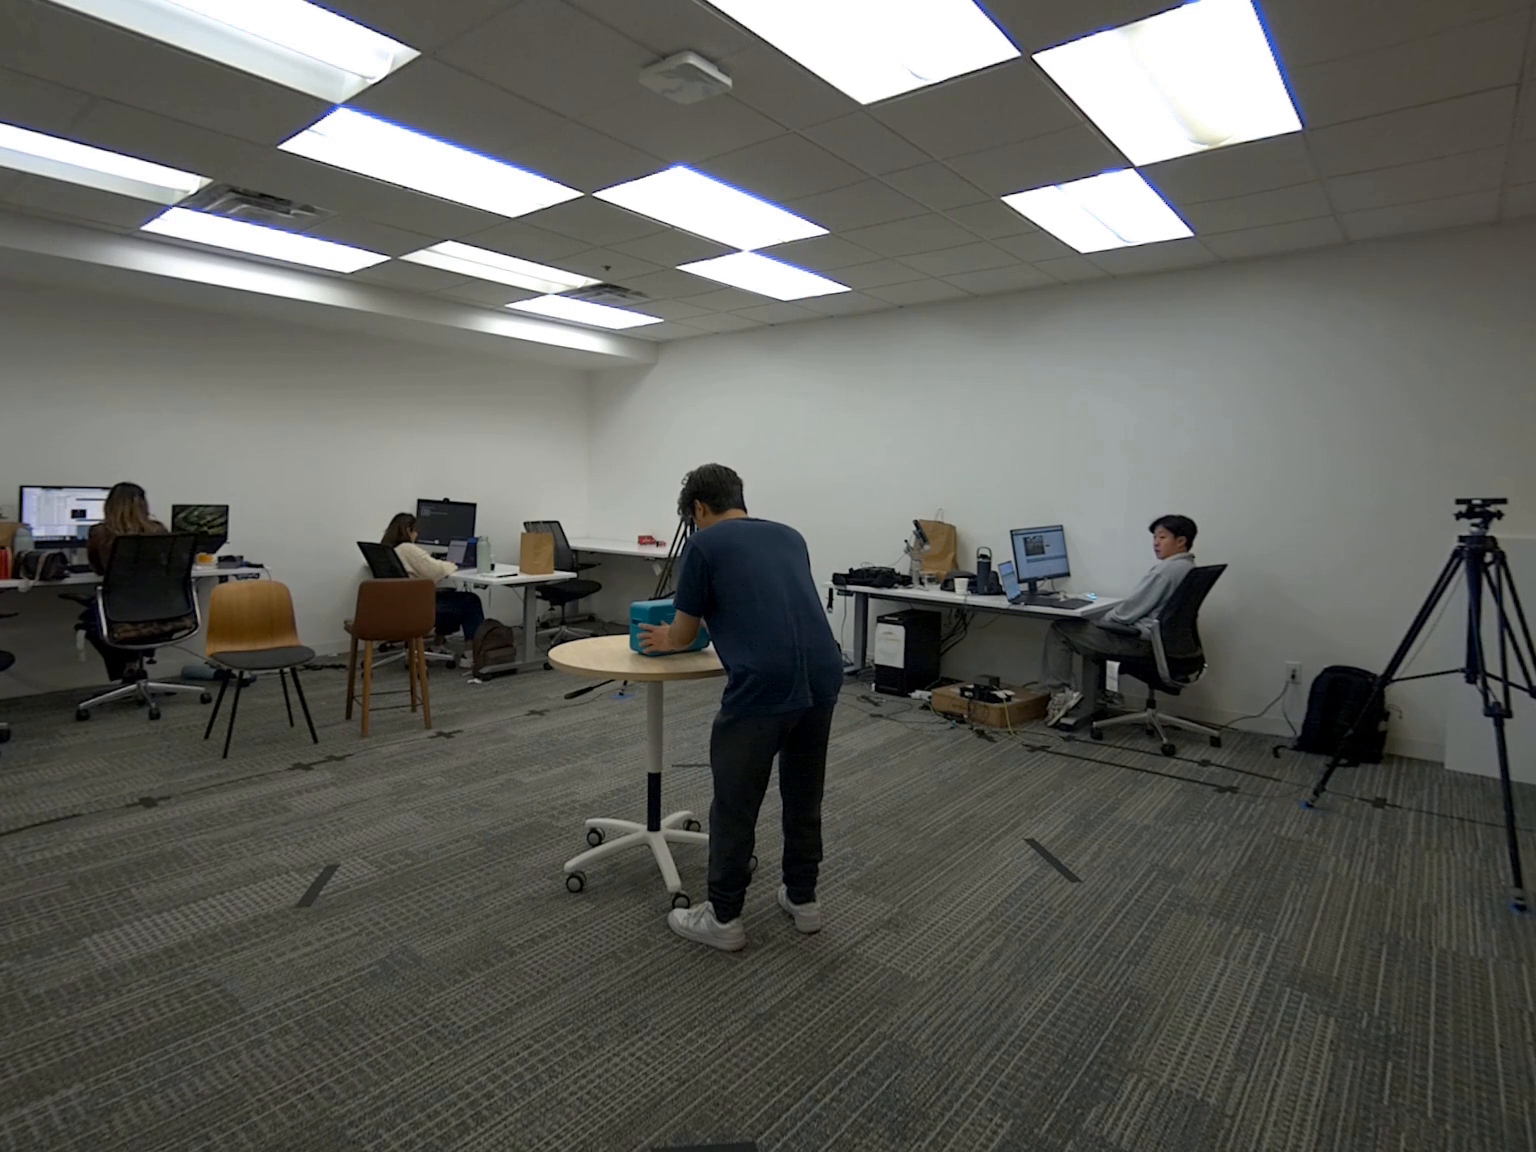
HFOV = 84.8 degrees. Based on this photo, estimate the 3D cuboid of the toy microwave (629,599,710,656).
[{"bbox_3d":[-0.370,0.178,3.081,0.277,0.184,0.157,-3,4,-40],"label":"toy microwave"}]
